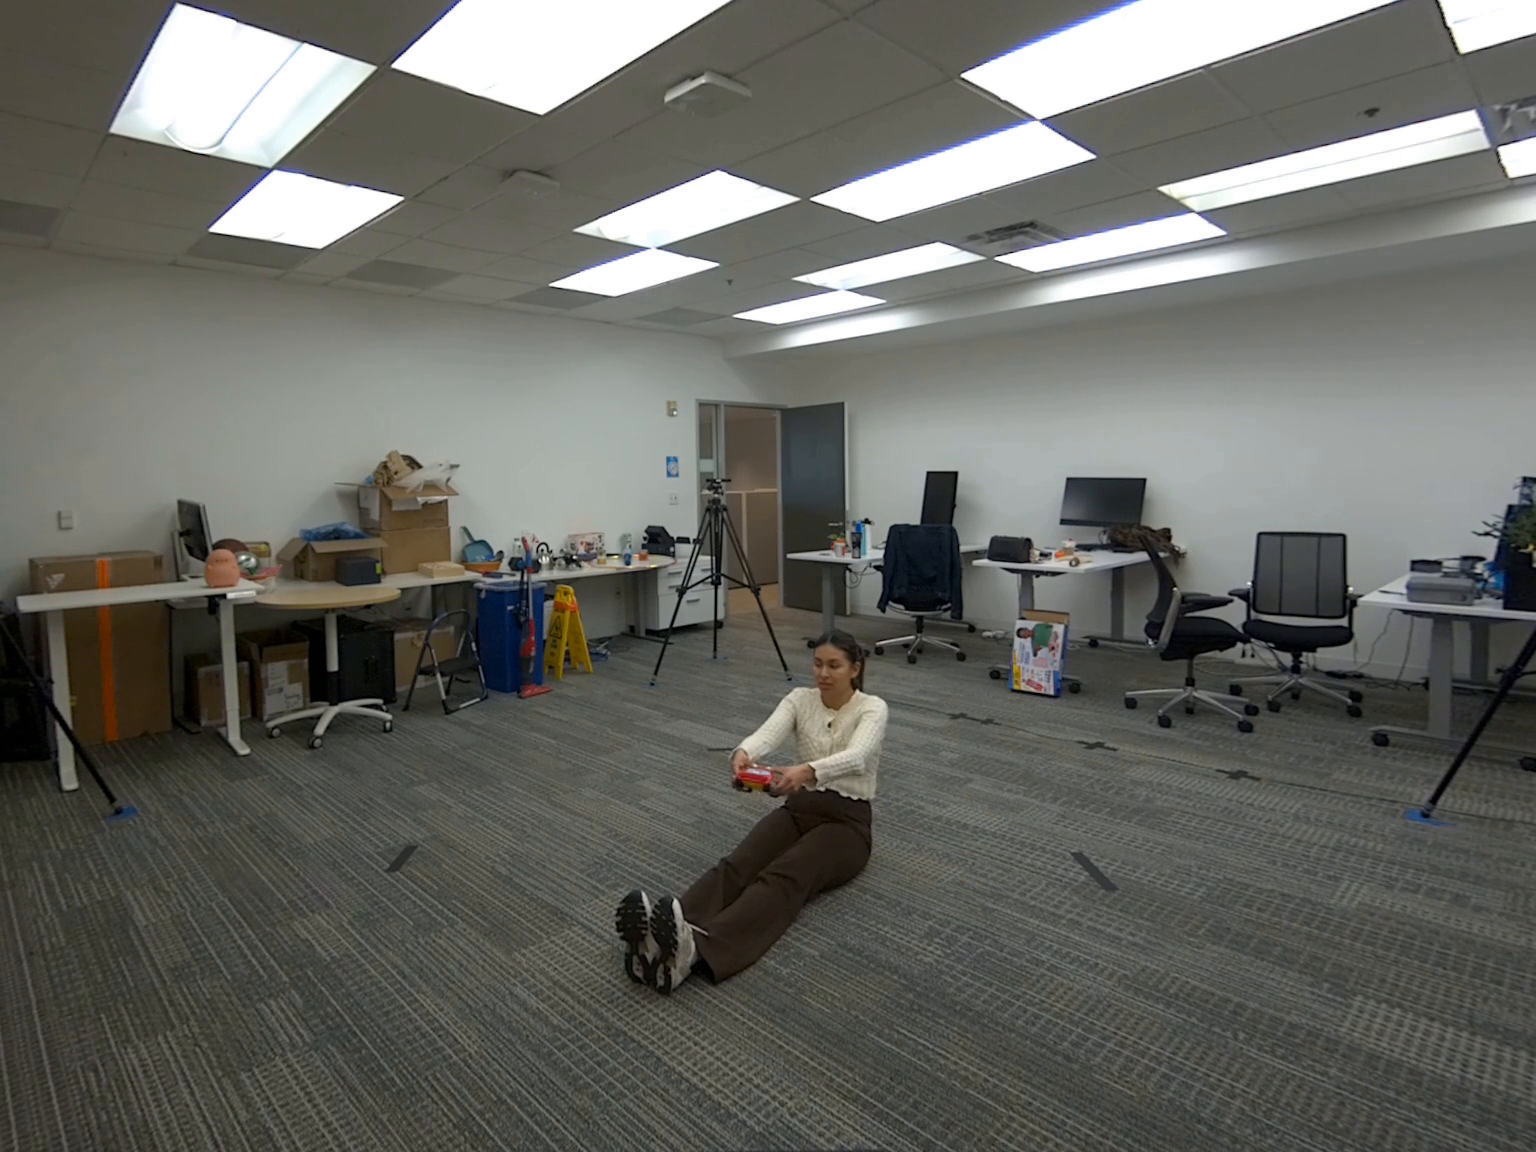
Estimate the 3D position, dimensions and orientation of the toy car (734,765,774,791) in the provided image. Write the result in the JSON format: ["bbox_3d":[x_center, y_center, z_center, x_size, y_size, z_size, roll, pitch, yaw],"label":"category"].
[{"bbox_3d":[-0.011,0.643,2.684,0.132,0.083,0.249,4,-5,14],"label":"toy car"}]
